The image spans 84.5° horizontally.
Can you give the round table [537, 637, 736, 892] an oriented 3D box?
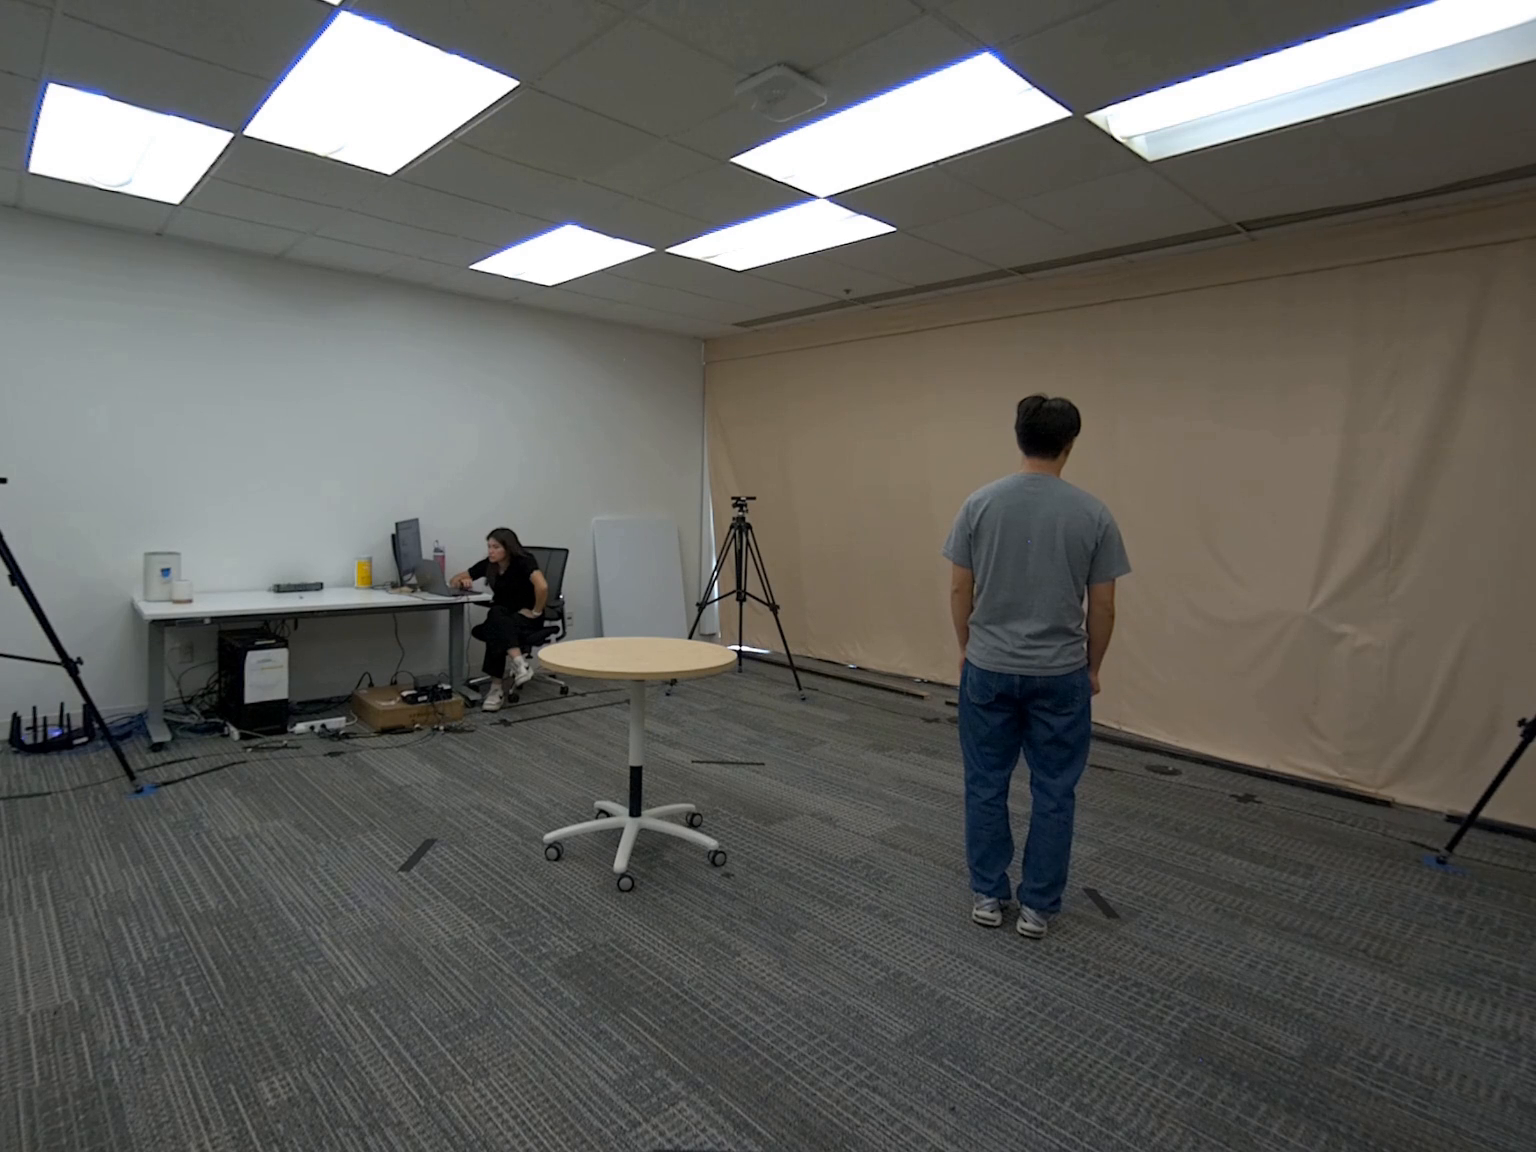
[{"bbox_3d":[-0.519,0.691,3.286,0.763,0.792,0.766,1,3,-1],"label":"round table"}]
